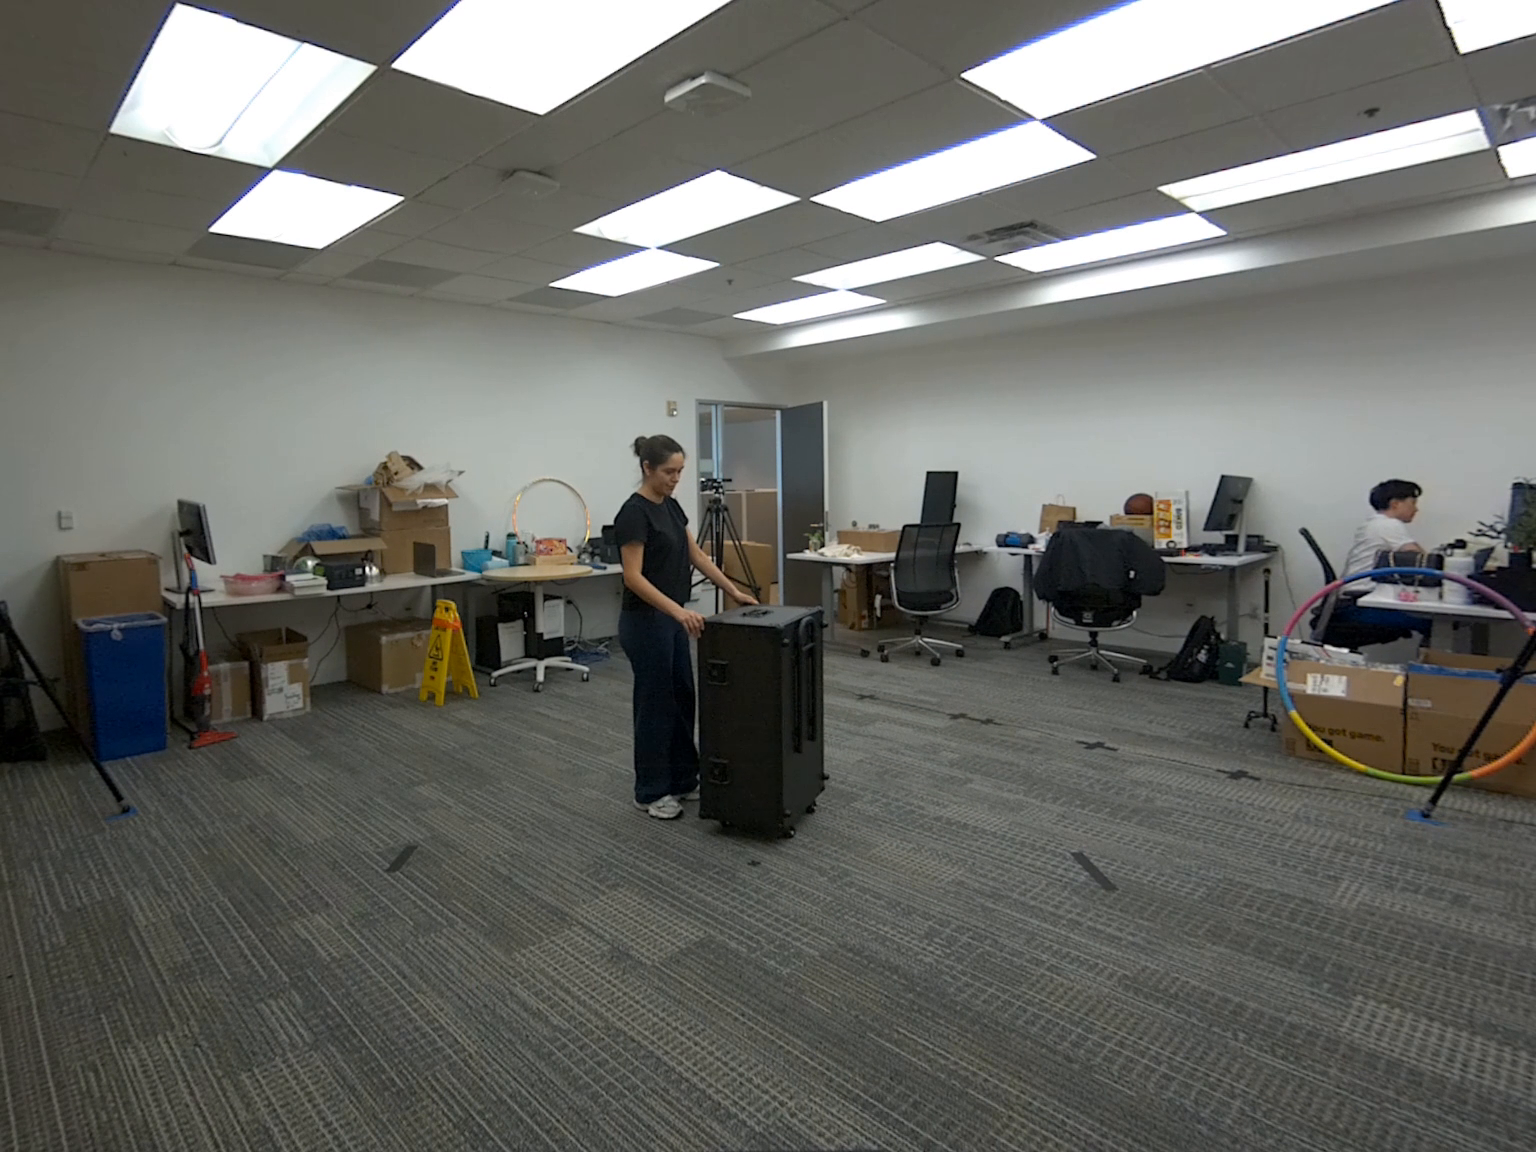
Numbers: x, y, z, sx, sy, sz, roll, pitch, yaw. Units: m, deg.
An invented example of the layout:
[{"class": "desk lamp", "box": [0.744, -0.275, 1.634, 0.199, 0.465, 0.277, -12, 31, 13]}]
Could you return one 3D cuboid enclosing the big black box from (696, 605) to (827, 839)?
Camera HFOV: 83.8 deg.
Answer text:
[{"class": "big black box", "box": [-0.007, 0.577, 3.473, 0.405, 0.858, 0.511, 2, 5, 24]}]
